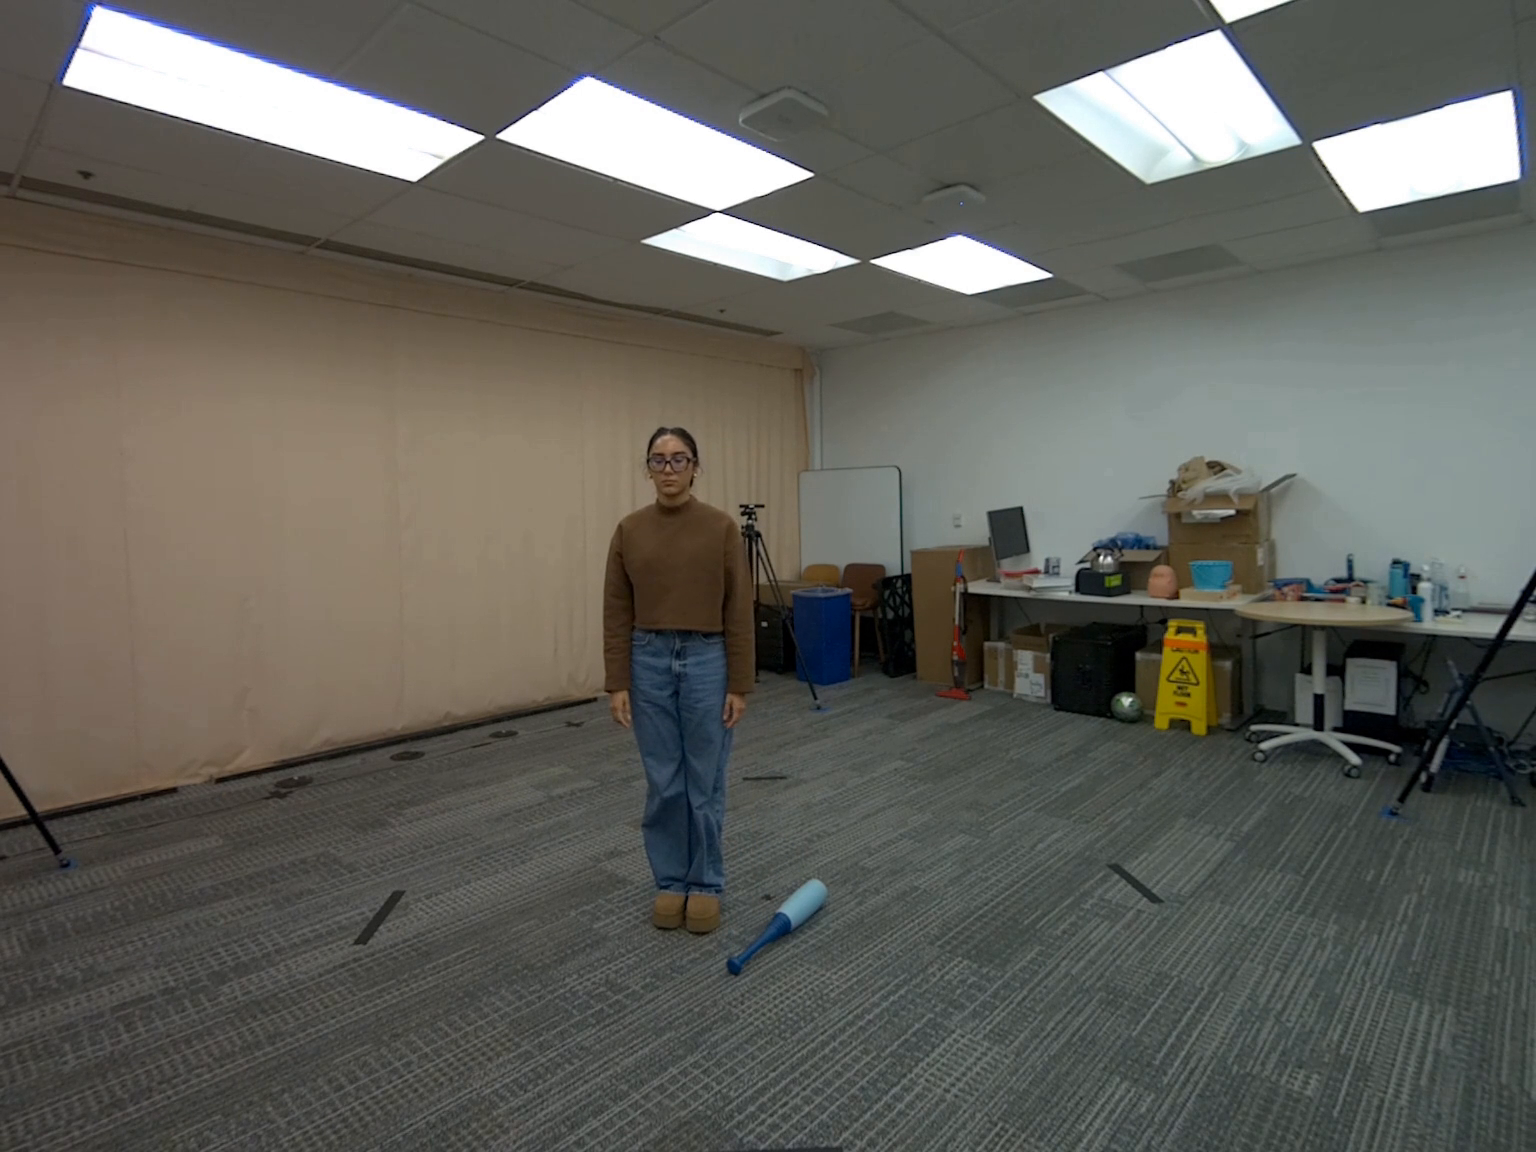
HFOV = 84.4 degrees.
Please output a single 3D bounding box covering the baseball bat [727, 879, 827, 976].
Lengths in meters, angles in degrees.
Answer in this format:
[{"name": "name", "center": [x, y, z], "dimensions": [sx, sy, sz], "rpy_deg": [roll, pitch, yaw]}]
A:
[{"name": "baseball bat", "center": [0.042, 1.127, 2.707], "dimensions": [0.092, 0.088, 0.529], "rpy_deg": [2, 9, 32]}]
